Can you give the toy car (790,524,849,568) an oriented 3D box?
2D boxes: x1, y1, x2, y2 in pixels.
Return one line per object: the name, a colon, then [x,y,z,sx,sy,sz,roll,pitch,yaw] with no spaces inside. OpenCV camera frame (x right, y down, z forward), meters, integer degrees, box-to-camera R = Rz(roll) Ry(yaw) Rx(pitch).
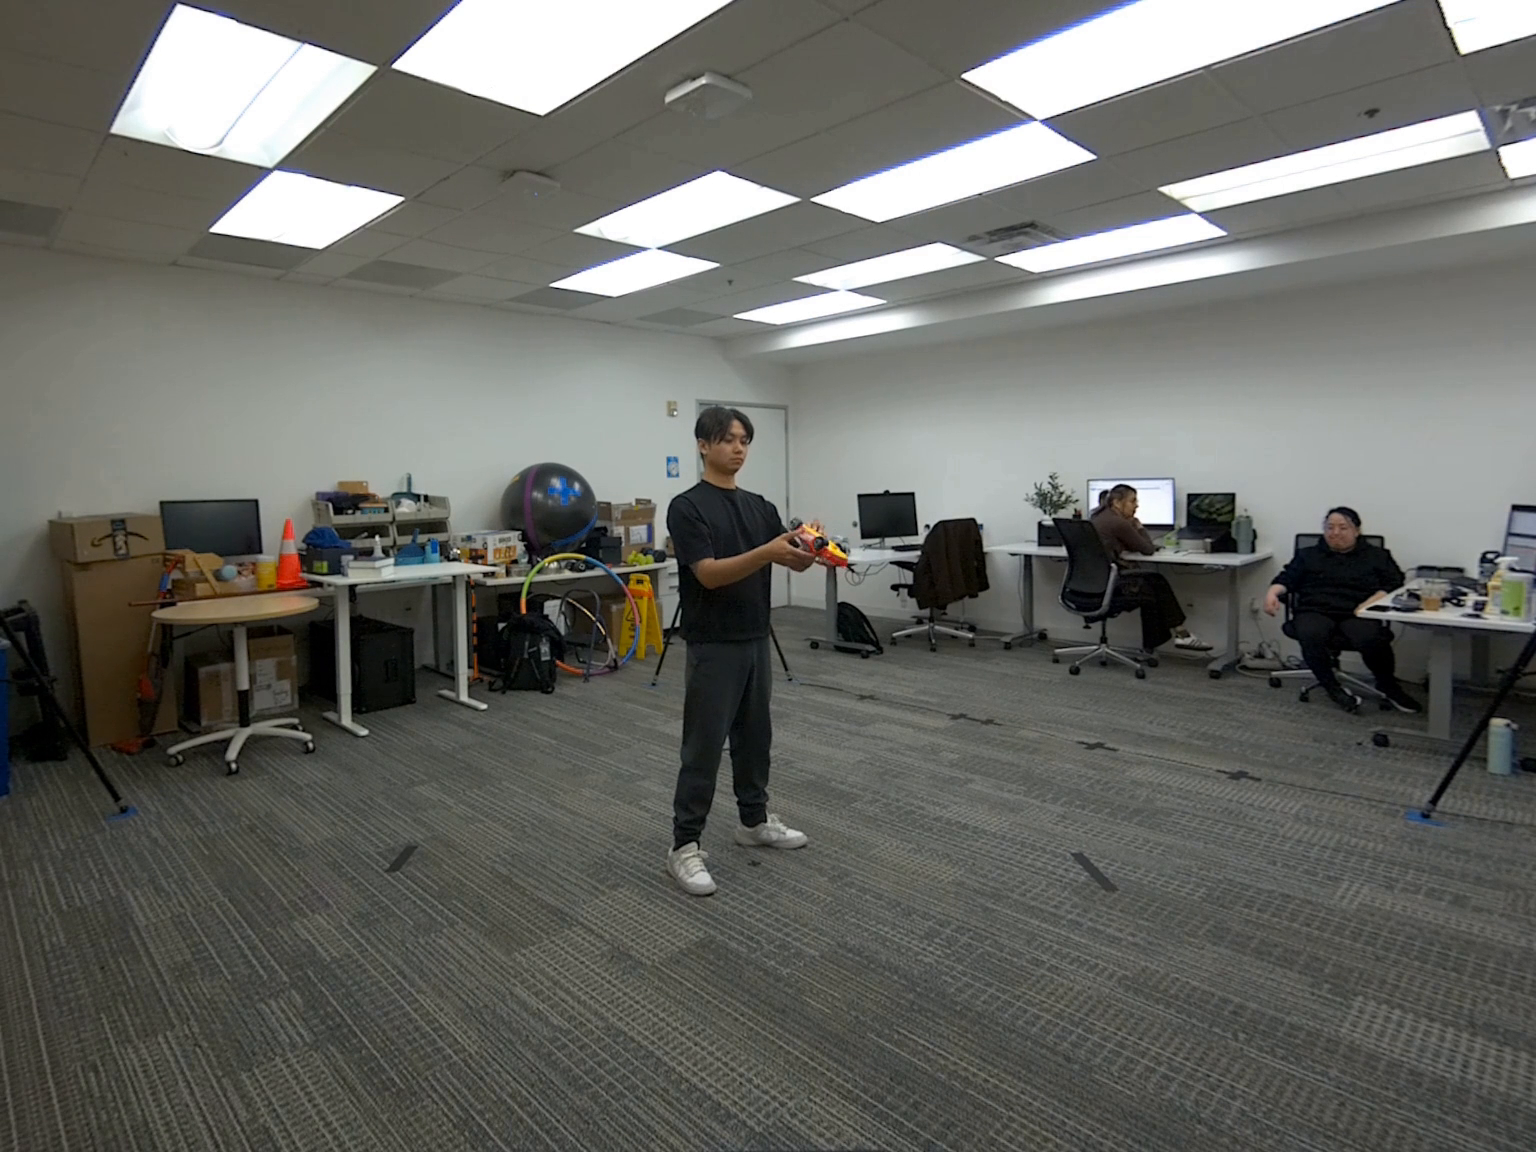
toy car: [0.170,-0.105,2.778,0.126,0.083,0.264,20,24,-39]
